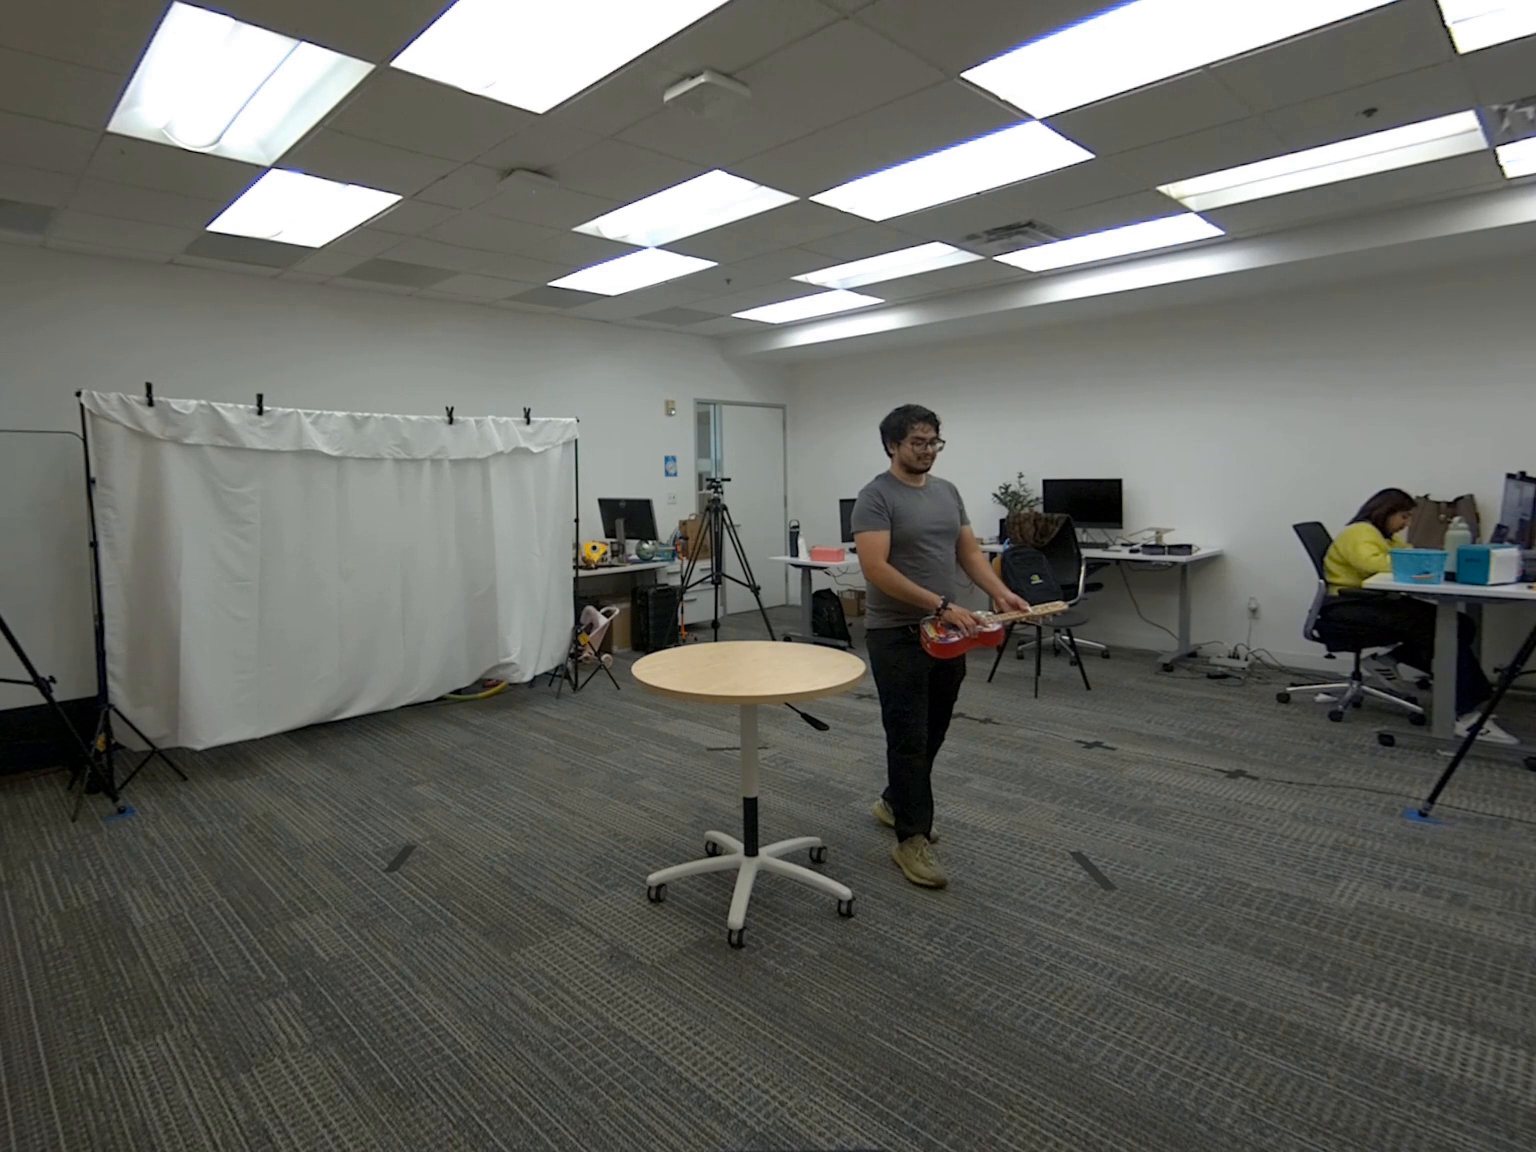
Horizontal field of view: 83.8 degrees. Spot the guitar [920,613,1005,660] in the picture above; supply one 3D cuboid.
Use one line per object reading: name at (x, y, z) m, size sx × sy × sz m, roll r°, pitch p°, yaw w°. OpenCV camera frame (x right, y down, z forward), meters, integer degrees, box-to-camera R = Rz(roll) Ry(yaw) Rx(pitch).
guitar at (0.755, 0.176, 2.850) m, size 0.500 × 0.069 × 0.197 m, roll -3°, pitch 35°, yaw 4°
